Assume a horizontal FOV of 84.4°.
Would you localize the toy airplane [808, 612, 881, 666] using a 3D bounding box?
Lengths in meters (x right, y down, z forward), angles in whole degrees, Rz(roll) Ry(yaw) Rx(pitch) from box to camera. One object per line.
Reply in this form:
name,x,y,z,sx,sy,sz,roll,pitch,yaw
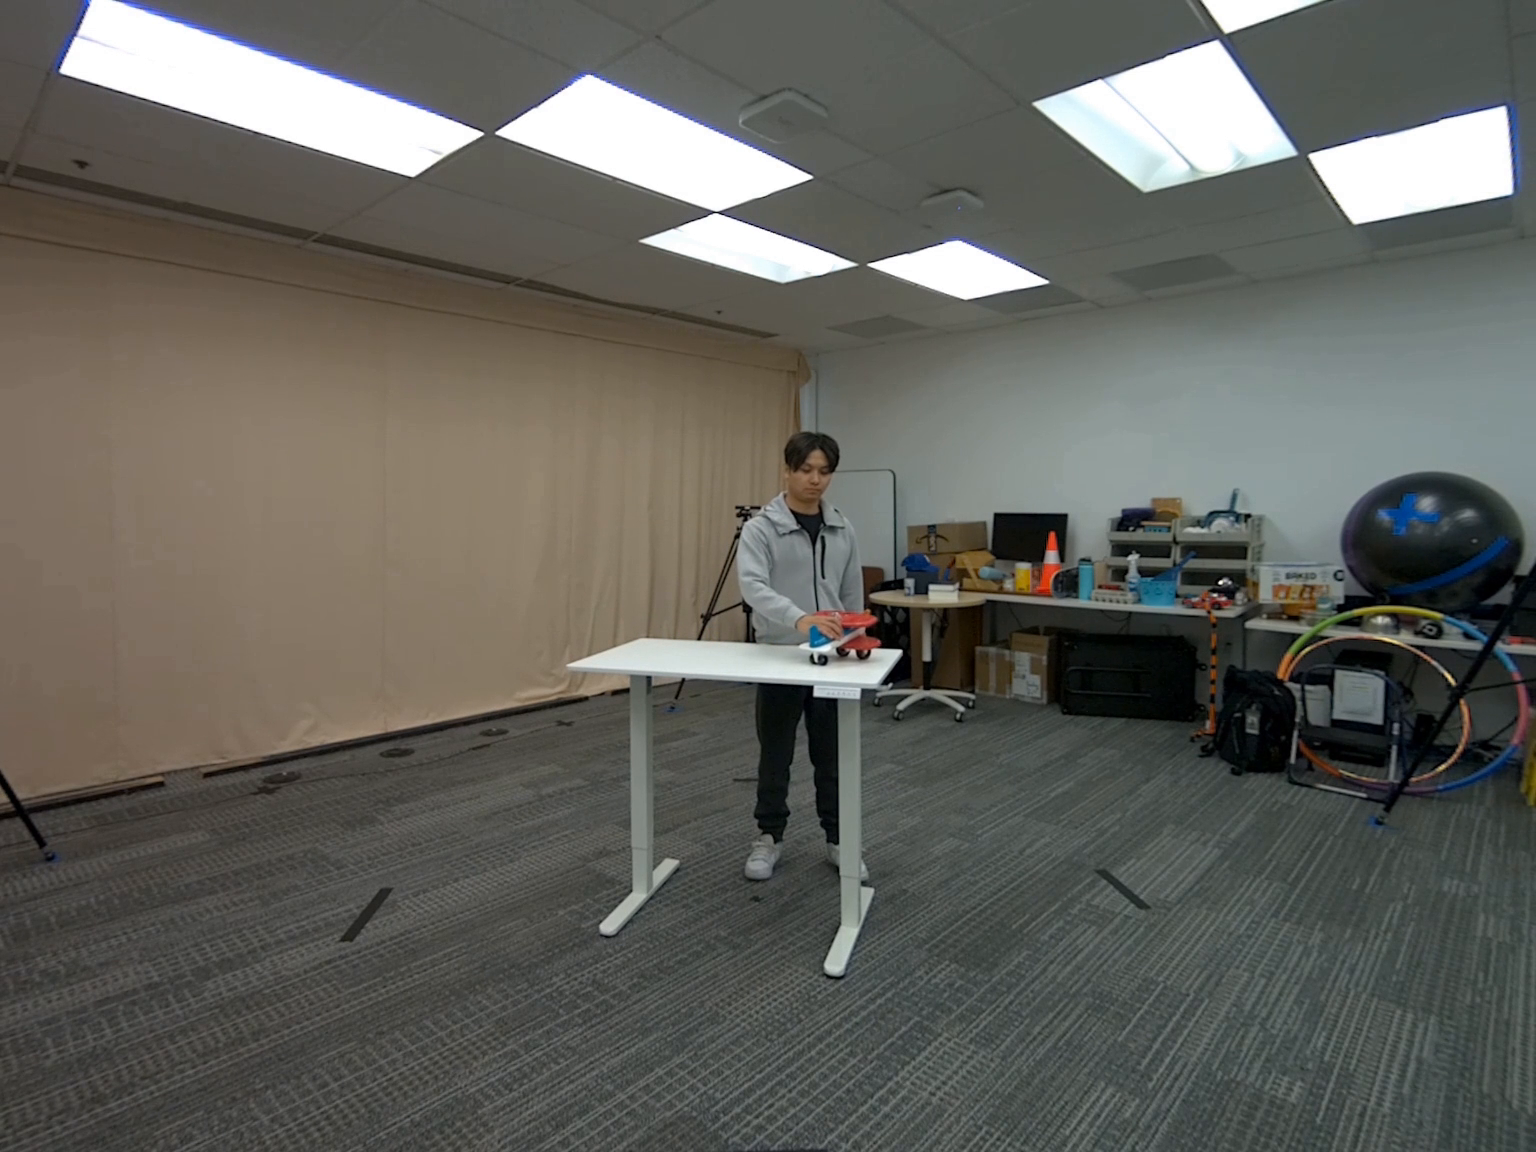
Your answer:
toy airplane,0.242,0.203,2.741,0.256,0.156,0.254,1,4,19
